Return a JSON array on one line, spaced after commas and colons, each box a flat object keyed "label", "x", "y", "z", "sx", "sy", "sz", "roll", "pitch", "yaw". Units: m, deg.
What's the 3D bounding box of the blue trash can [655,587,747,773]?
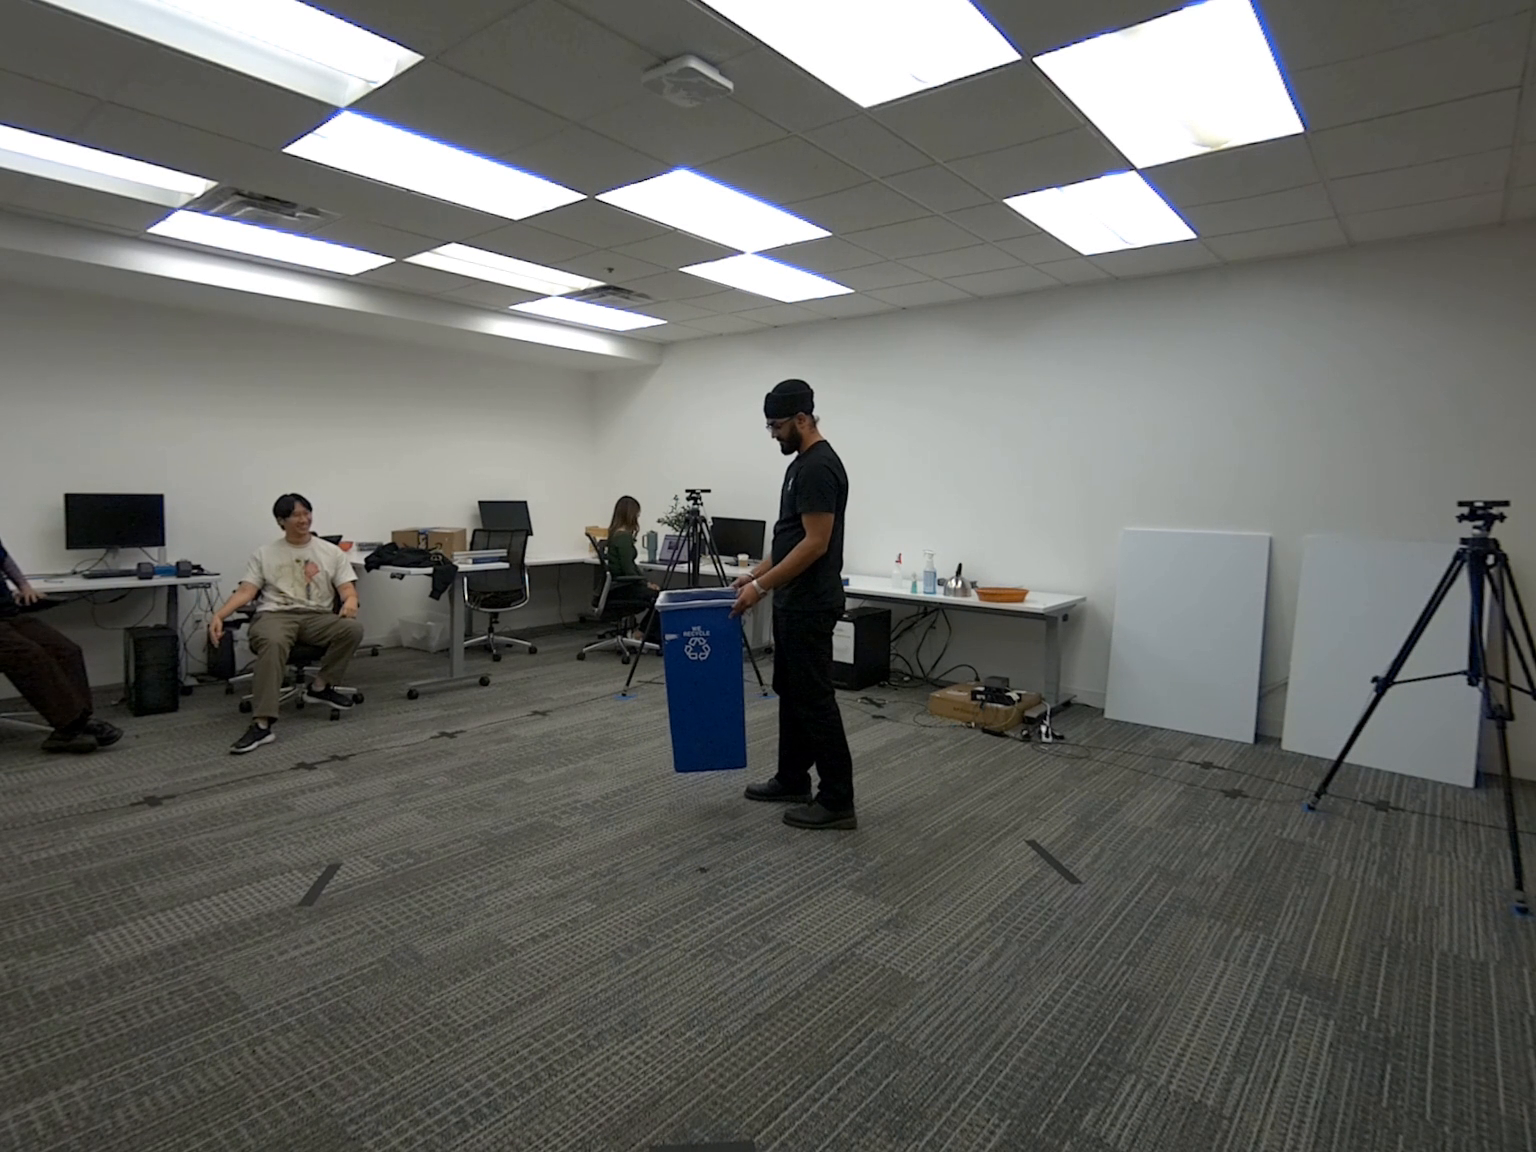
[{"label": "blue trash can", "x": -0.272, "y": 0.434, "z": 3.651, "sx": 0.373, "sy": 0.710, "sz": 0.381, "roll": -4, "pitch": 5, "yaw": -3}]
